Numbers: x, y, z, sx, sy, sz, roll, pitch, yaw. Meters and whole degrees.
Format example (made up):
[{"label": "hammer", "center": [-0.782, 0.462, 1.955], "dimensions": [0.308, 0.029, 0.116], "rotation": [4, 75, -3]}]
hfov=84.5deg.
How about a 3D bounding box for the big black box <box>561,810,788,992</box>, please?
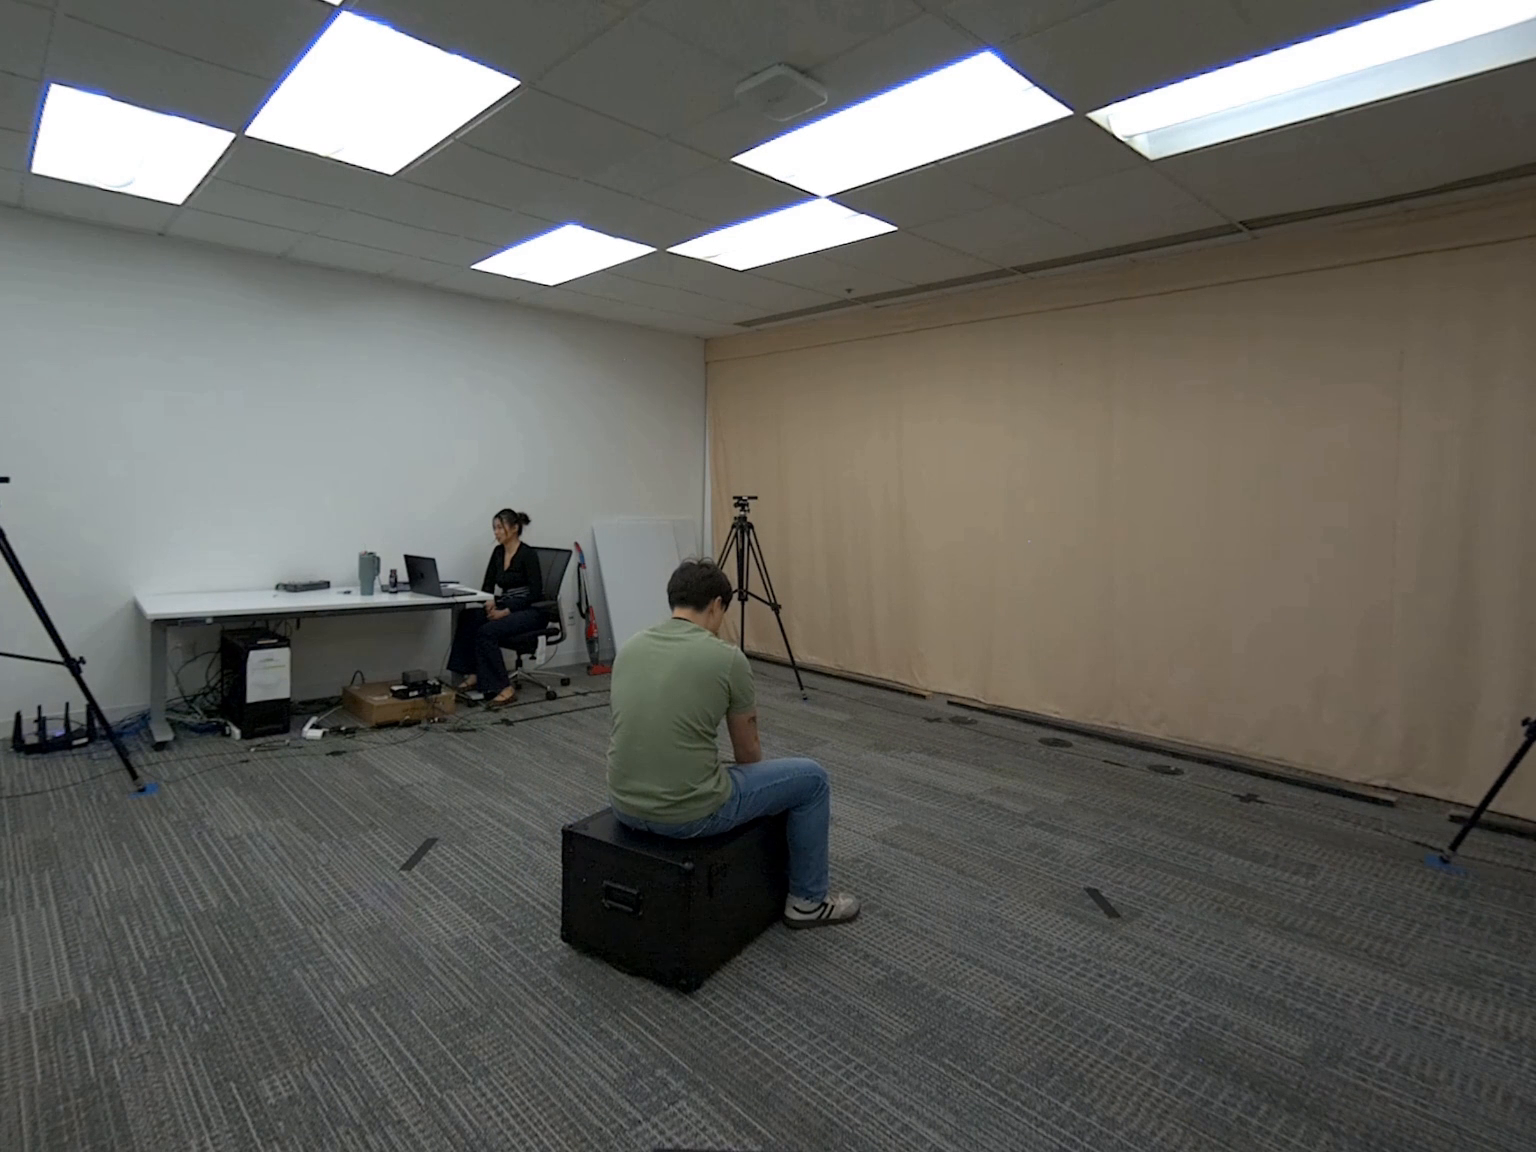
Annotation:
[{"label": "big black box", "center": [-0.219, 0.942, 2.785], "dimensions": [0.533, 0.395, 0.845], "rotation": [3, 6, 31]}]
